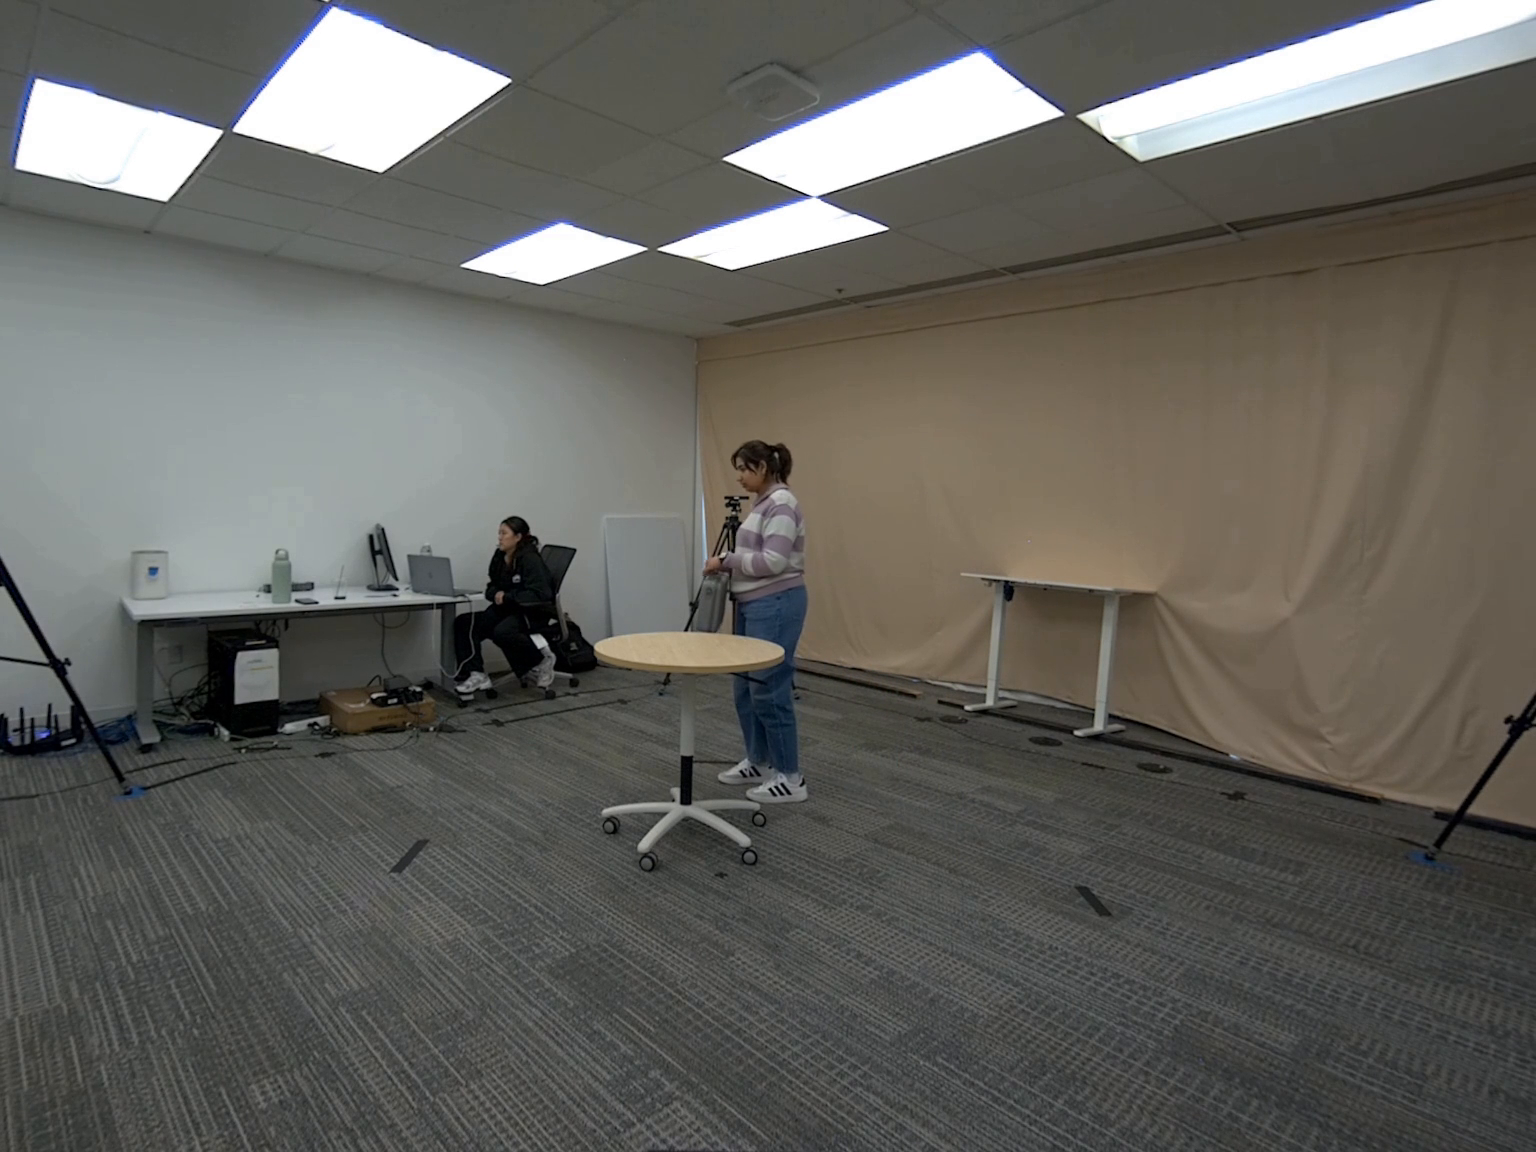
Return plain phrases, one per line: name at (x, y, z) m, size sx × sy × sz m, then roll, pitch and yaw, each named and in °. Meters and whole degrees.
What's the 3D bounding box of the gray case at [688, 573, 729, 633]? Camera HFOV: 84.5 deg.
gray case at (-0.274, 0.122, 4.020) m, size 0.105 × 0.259 × 0.257 m, roll 7°, pitch 9°, yaw 4°
